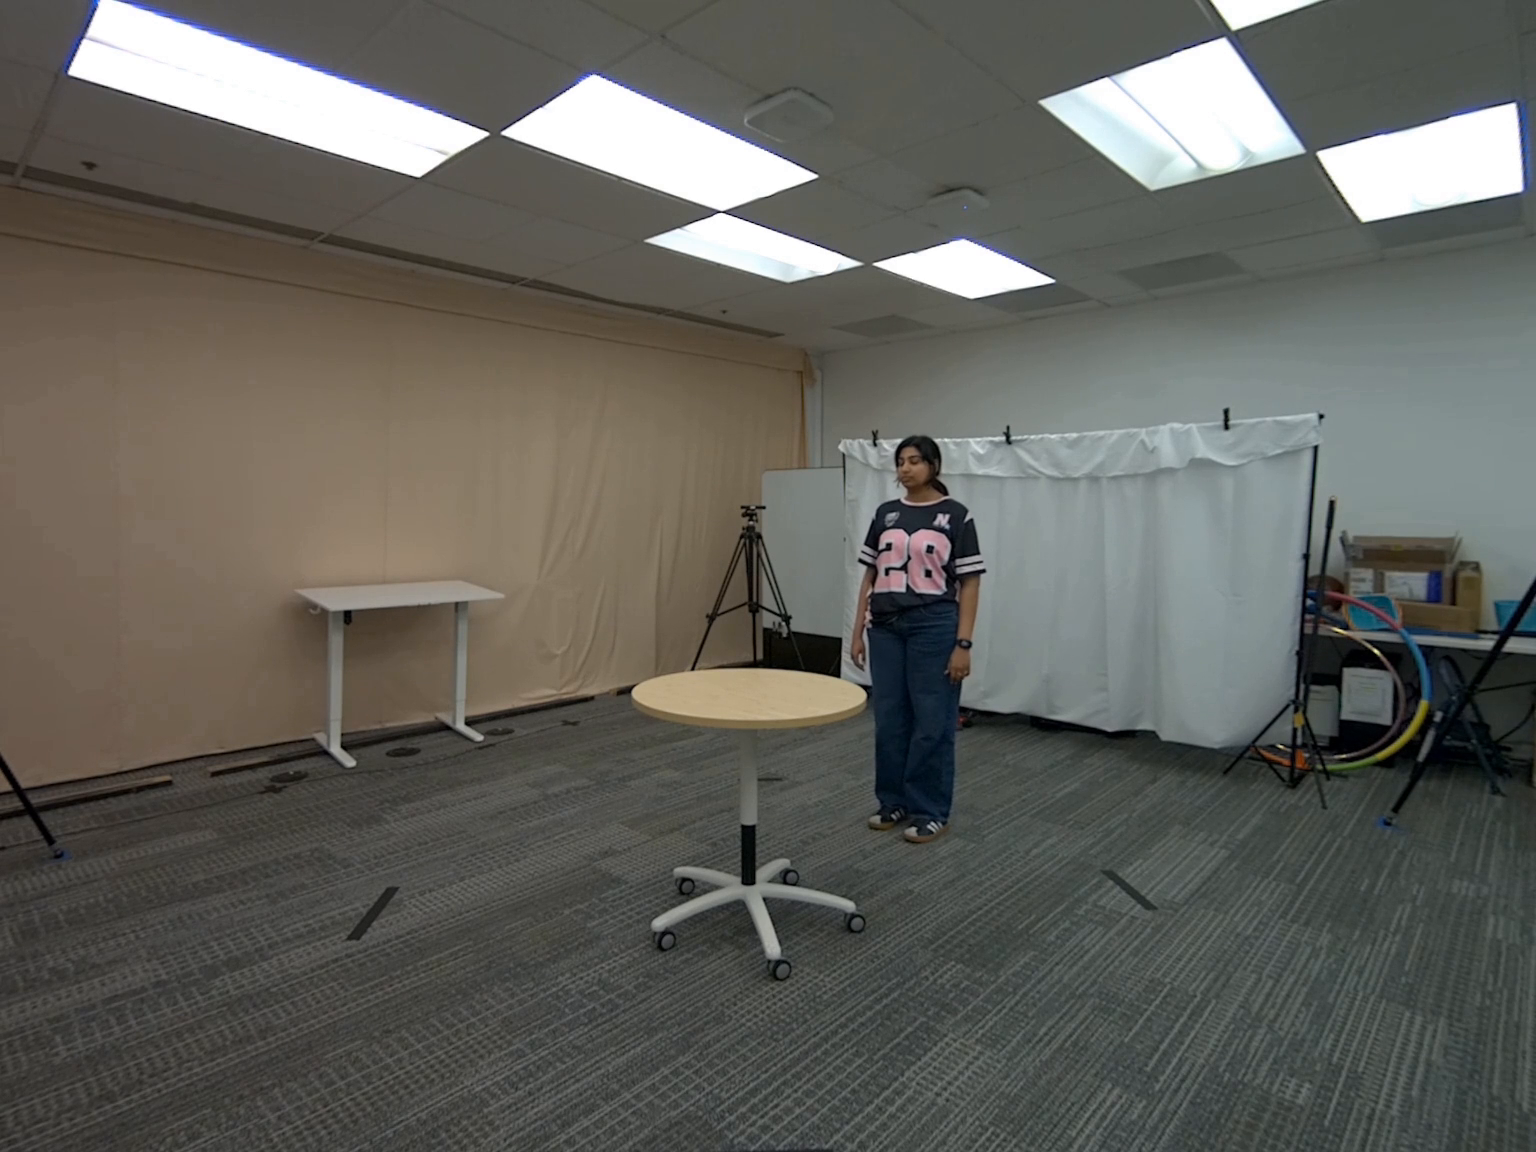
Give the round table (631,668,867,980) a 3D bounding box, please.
[{"bbox_3d":[-0.073,0.770,2.781,0.784,0.785,0.788,0,3,-2],"label":"round table"}]
